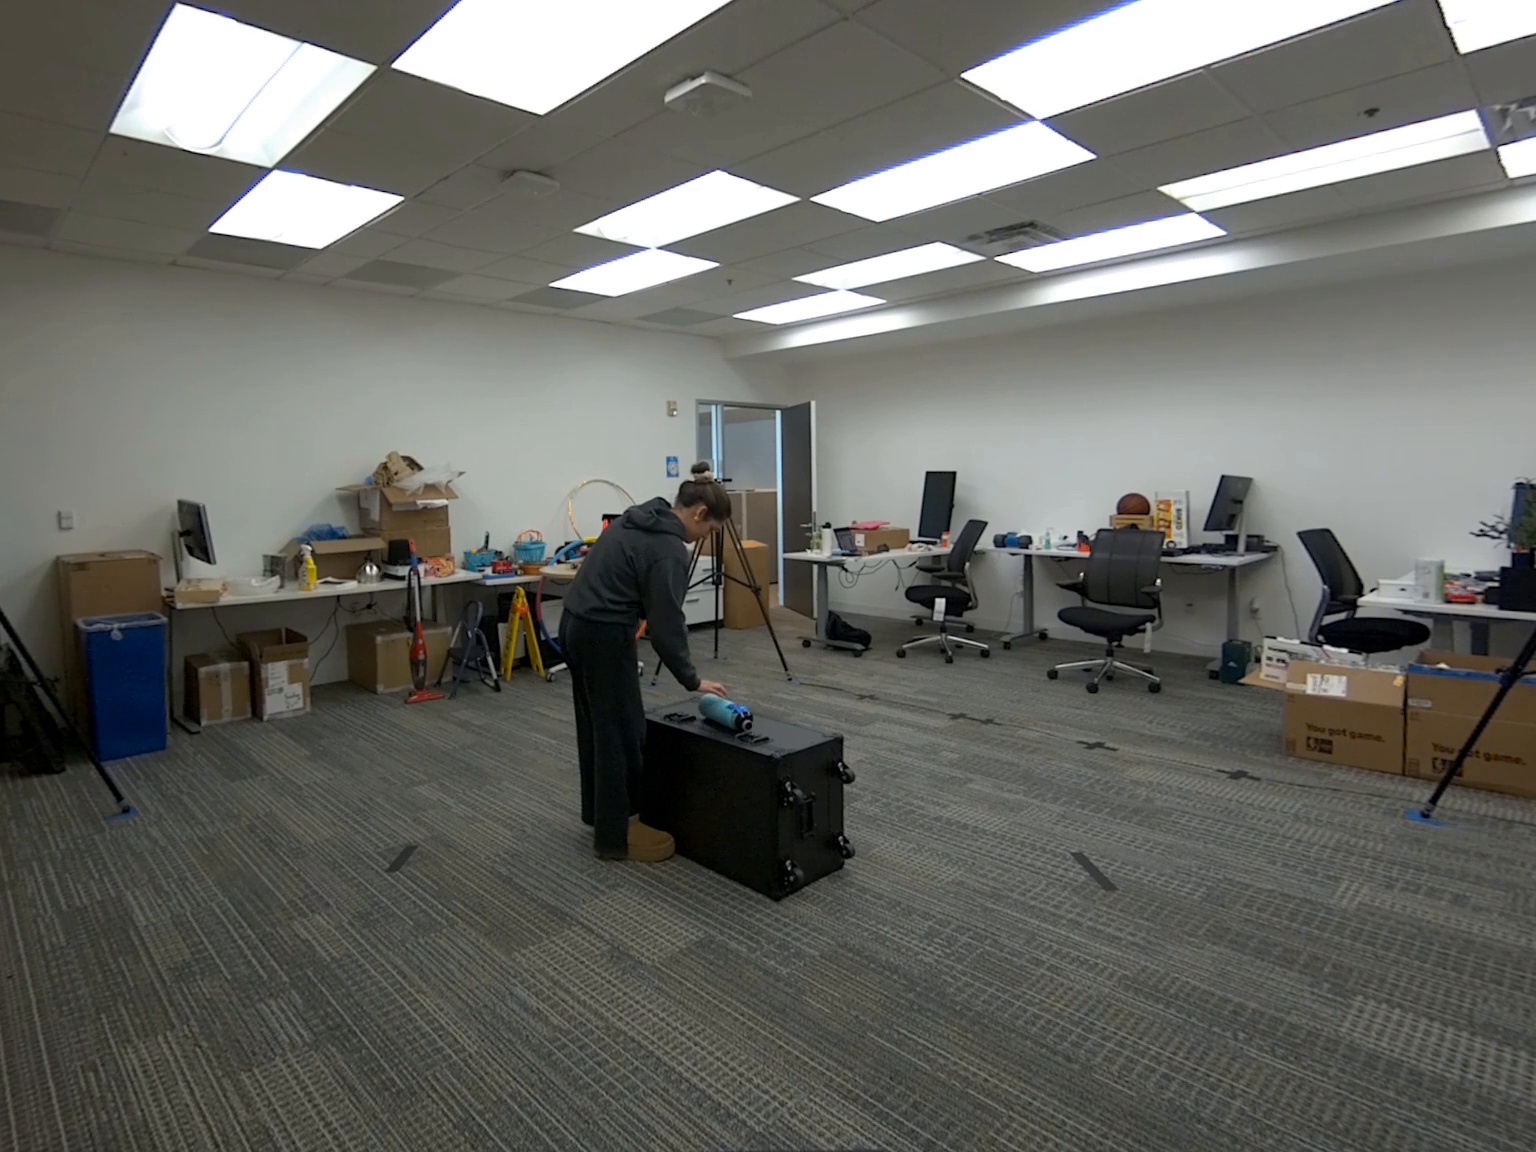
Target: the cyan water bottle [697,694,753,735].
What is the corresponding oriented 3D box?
[{"bbox_3d":[-0.148,0.505,3.162,0.090,0.092,0.291,-3,6,-32],"label":"cyan water bottle"}]
